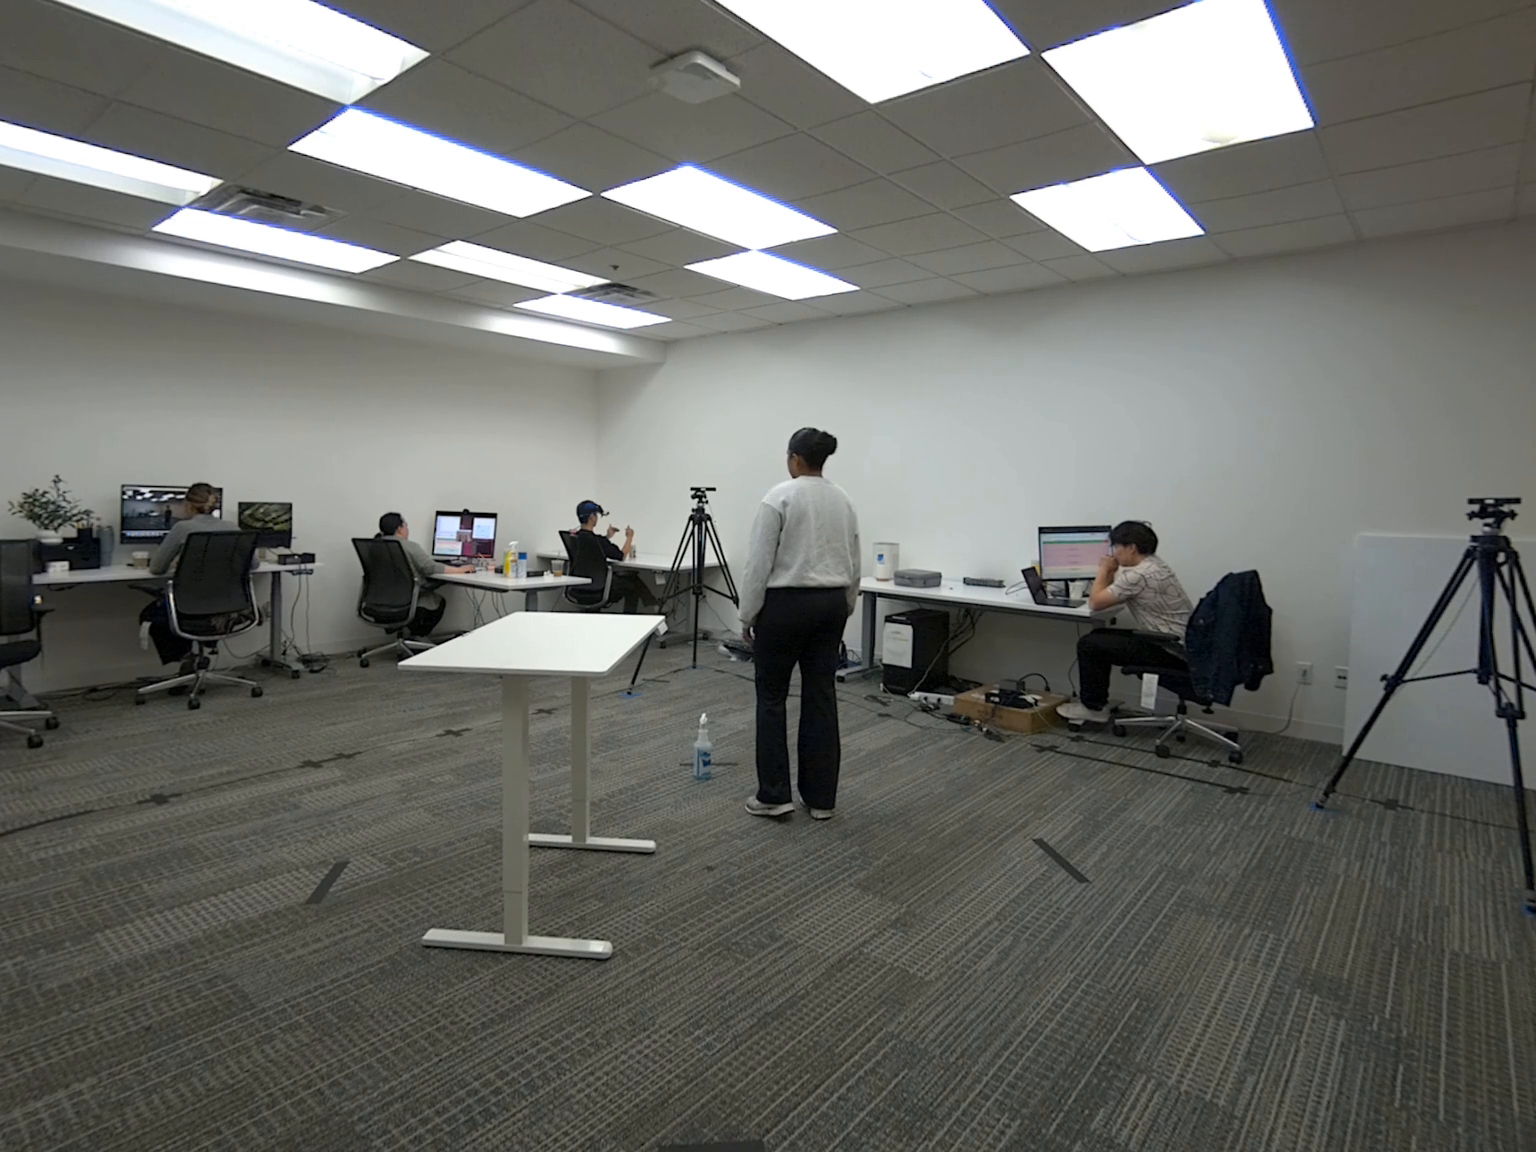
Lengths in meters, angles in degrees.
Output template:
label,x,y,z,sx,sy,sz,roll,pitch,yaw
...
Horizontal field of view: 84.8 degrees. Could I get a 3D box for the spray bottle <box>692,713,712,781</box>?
label,x,y,z,sx,sy,sz,roll,pitch,yaw
spray bottle,-0.327,0.823,4.110,0.089,0.297,0.088,2,2,26
